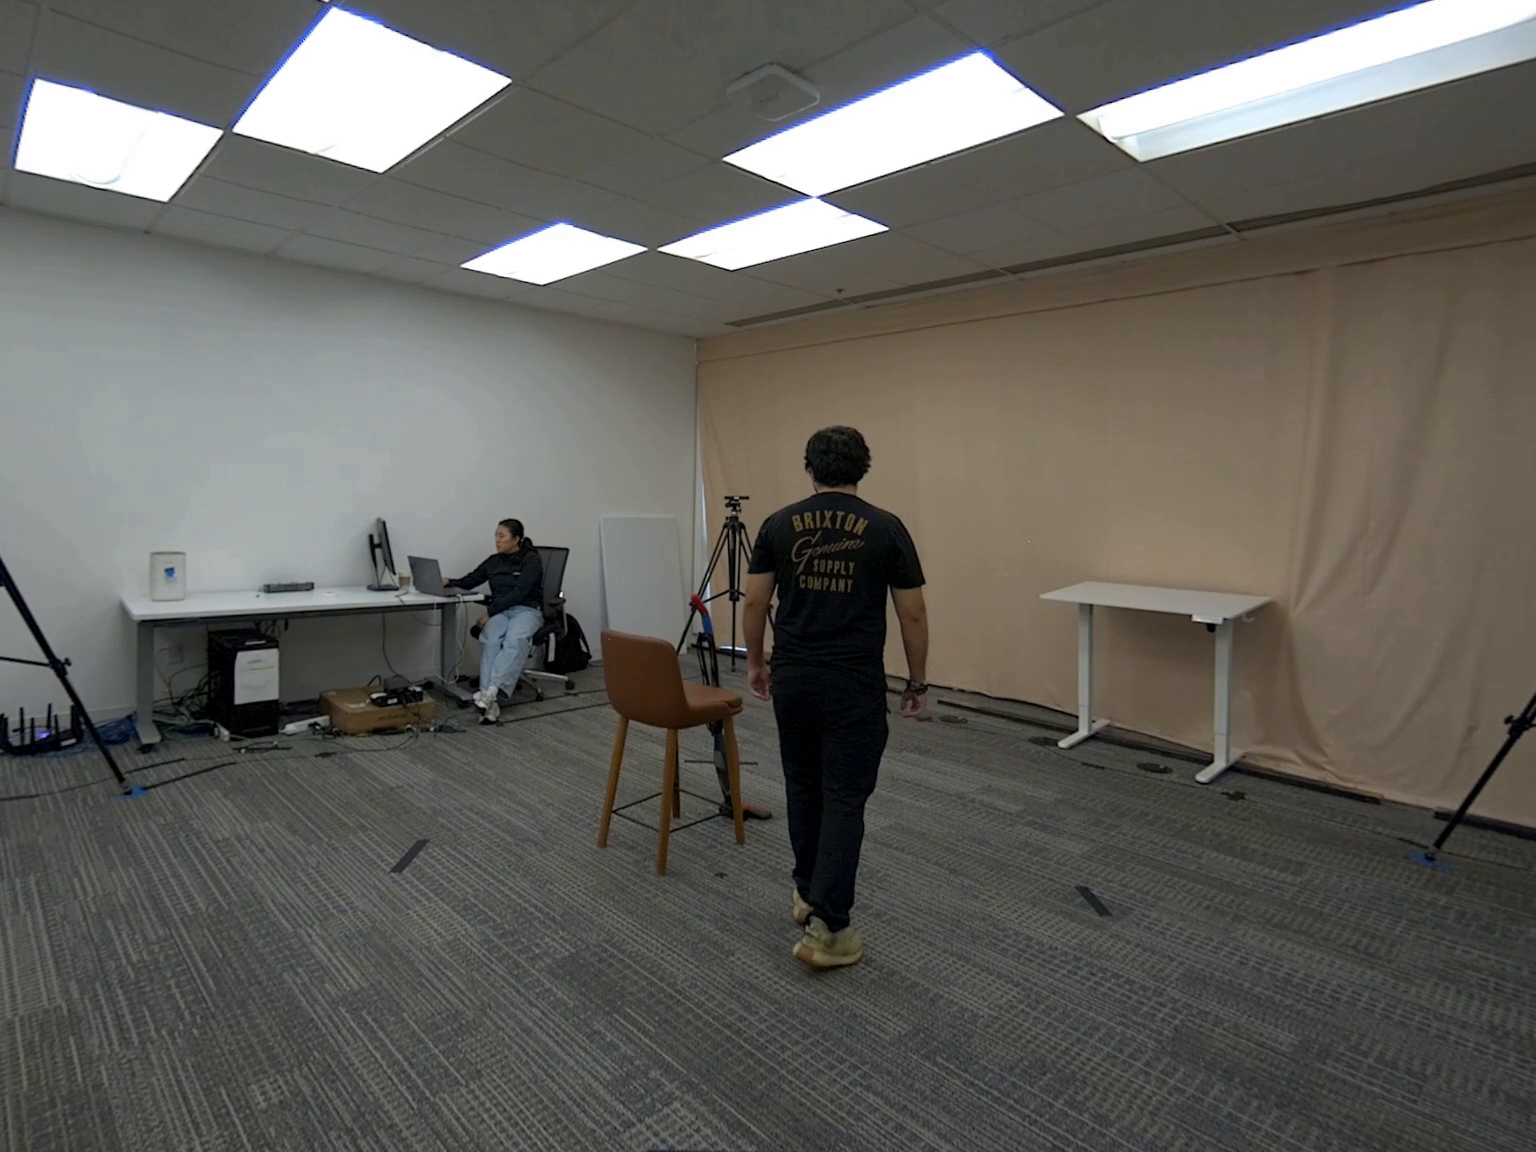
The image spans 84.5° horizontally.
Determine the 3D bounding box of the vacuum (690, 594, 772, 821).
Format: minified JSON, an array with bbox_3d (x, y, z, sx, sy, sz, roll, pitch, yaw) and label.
[{"bbox_3d":[-0.211,0.568,3.553,0.258,1.033,0.143,3,22,34],"label":"vacuum"}]
